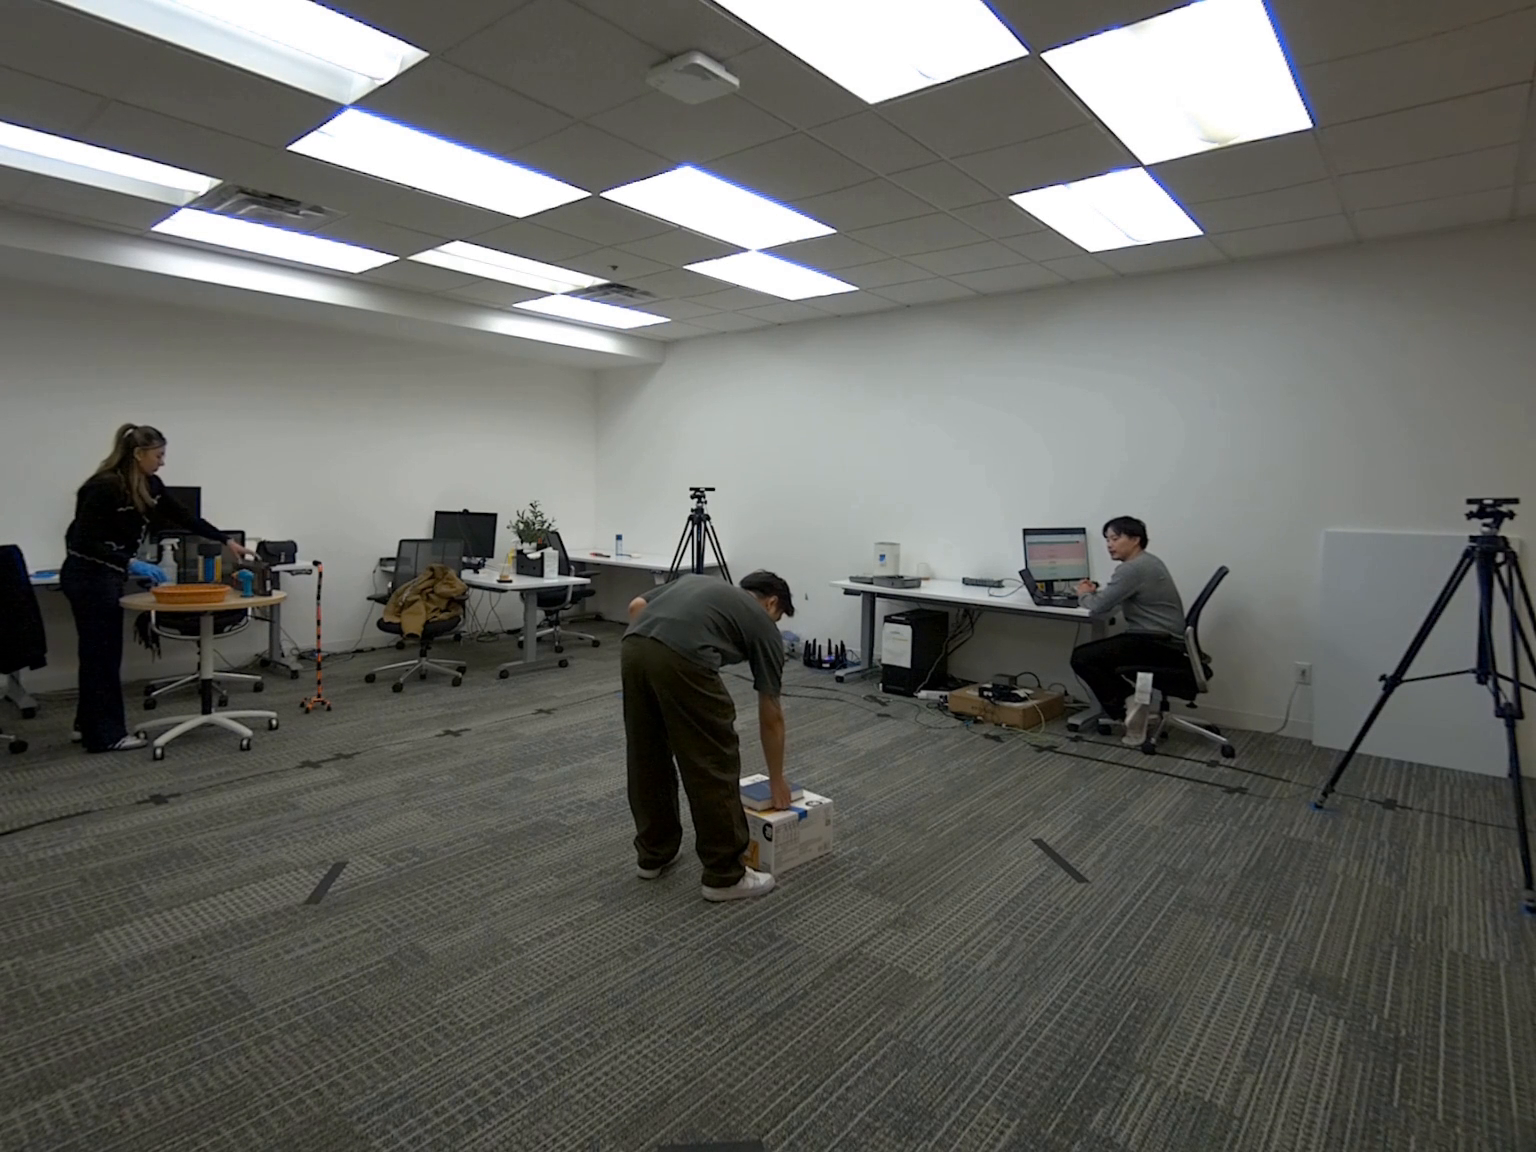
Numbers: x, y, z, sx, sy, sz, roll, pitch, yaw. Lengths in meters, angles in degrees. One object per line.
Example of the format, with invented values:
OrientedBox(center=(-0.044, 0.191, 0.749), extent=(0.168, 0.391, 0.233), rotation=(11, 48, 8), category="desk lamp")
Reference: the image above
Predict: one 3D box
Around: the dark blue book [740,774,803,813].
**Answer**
OrientedBox(center=(-0.009, 0.840, 3.288), extent=(0.238, 0.045, 0.169), rotation=(-3, 8, -41), category="dark blue book")
